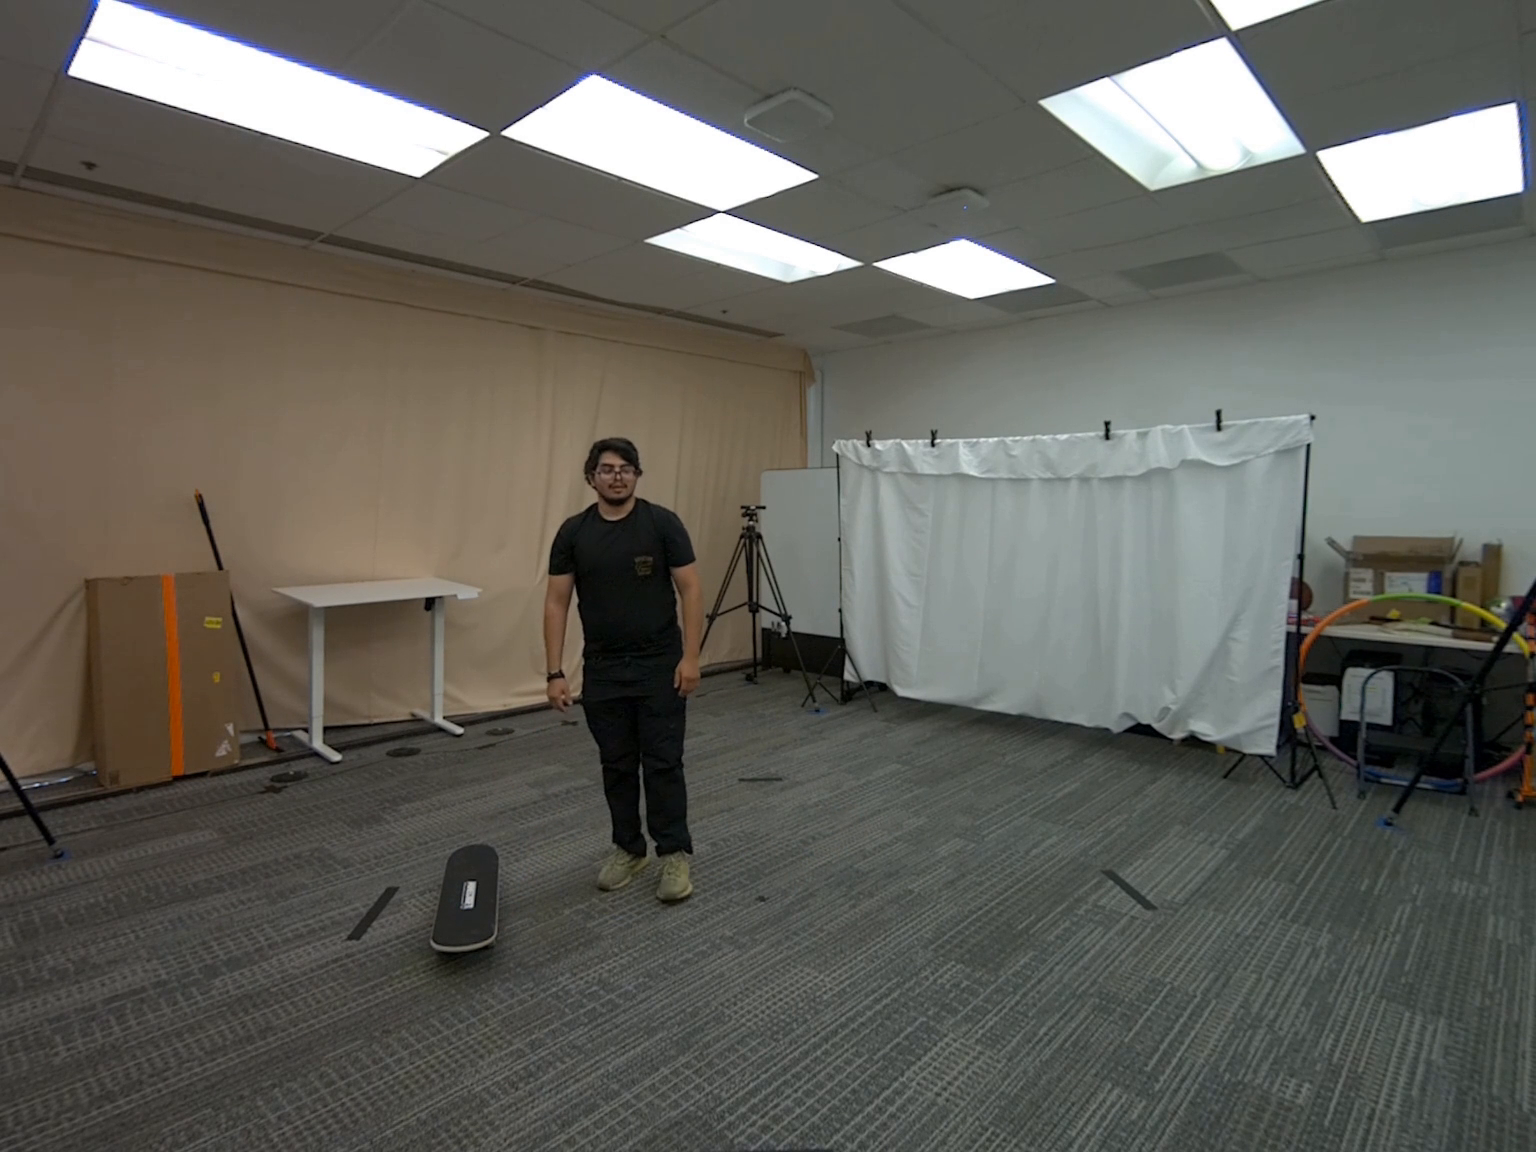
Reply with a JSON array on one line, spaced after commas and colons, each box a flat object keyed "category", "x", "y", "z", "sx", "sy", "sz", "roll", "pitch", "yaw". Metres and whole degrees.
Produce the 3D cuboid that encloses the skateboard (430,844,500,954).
[{"category": "skateboard", "x": -1.011, "y": 1.108, "z": 2.837, "sx": 0.190, "sy": 0.110, "sz": 0.799, "roll": -1, "pitch": 4, "yaw": -17}]
